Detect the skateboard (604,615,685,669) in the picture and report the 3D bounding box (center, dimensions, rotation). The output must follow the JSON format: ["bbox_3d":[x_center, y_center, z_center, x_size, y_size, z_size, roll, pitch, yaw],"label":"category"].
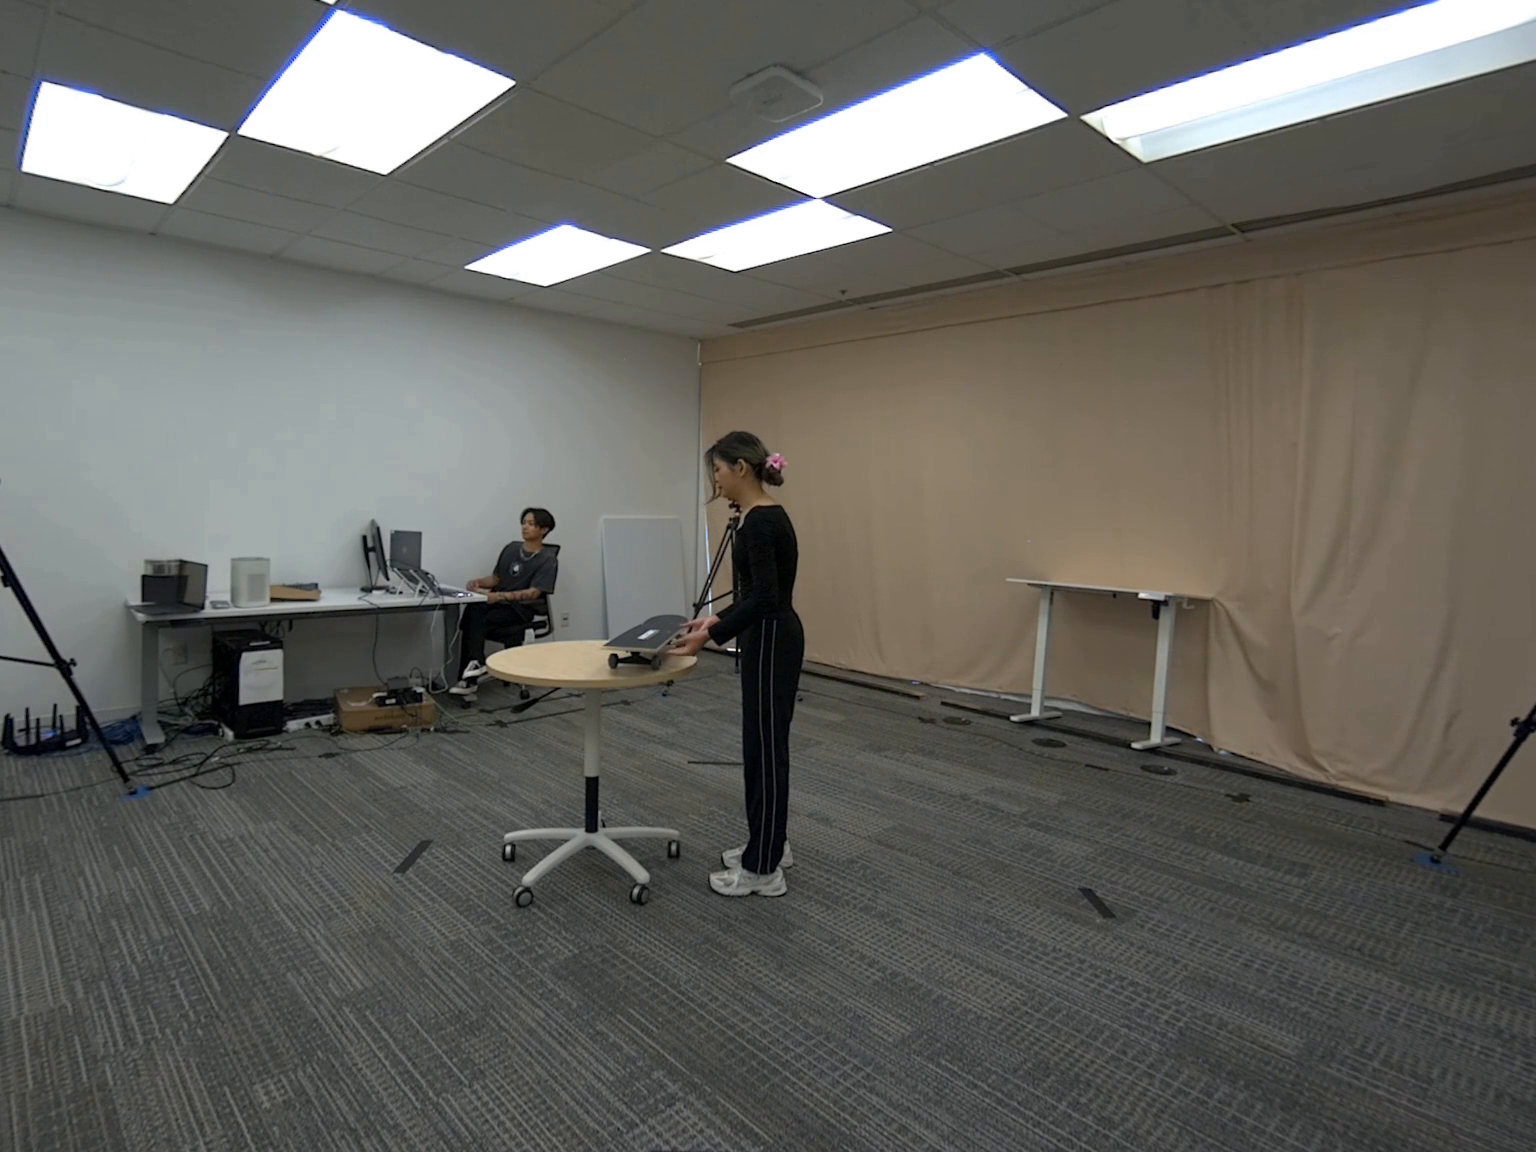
[{"bbox_3d":[-0.435,0.253,3.105,0.194,0.110,0.782,1,4,6],"label":"skateboard"}]
